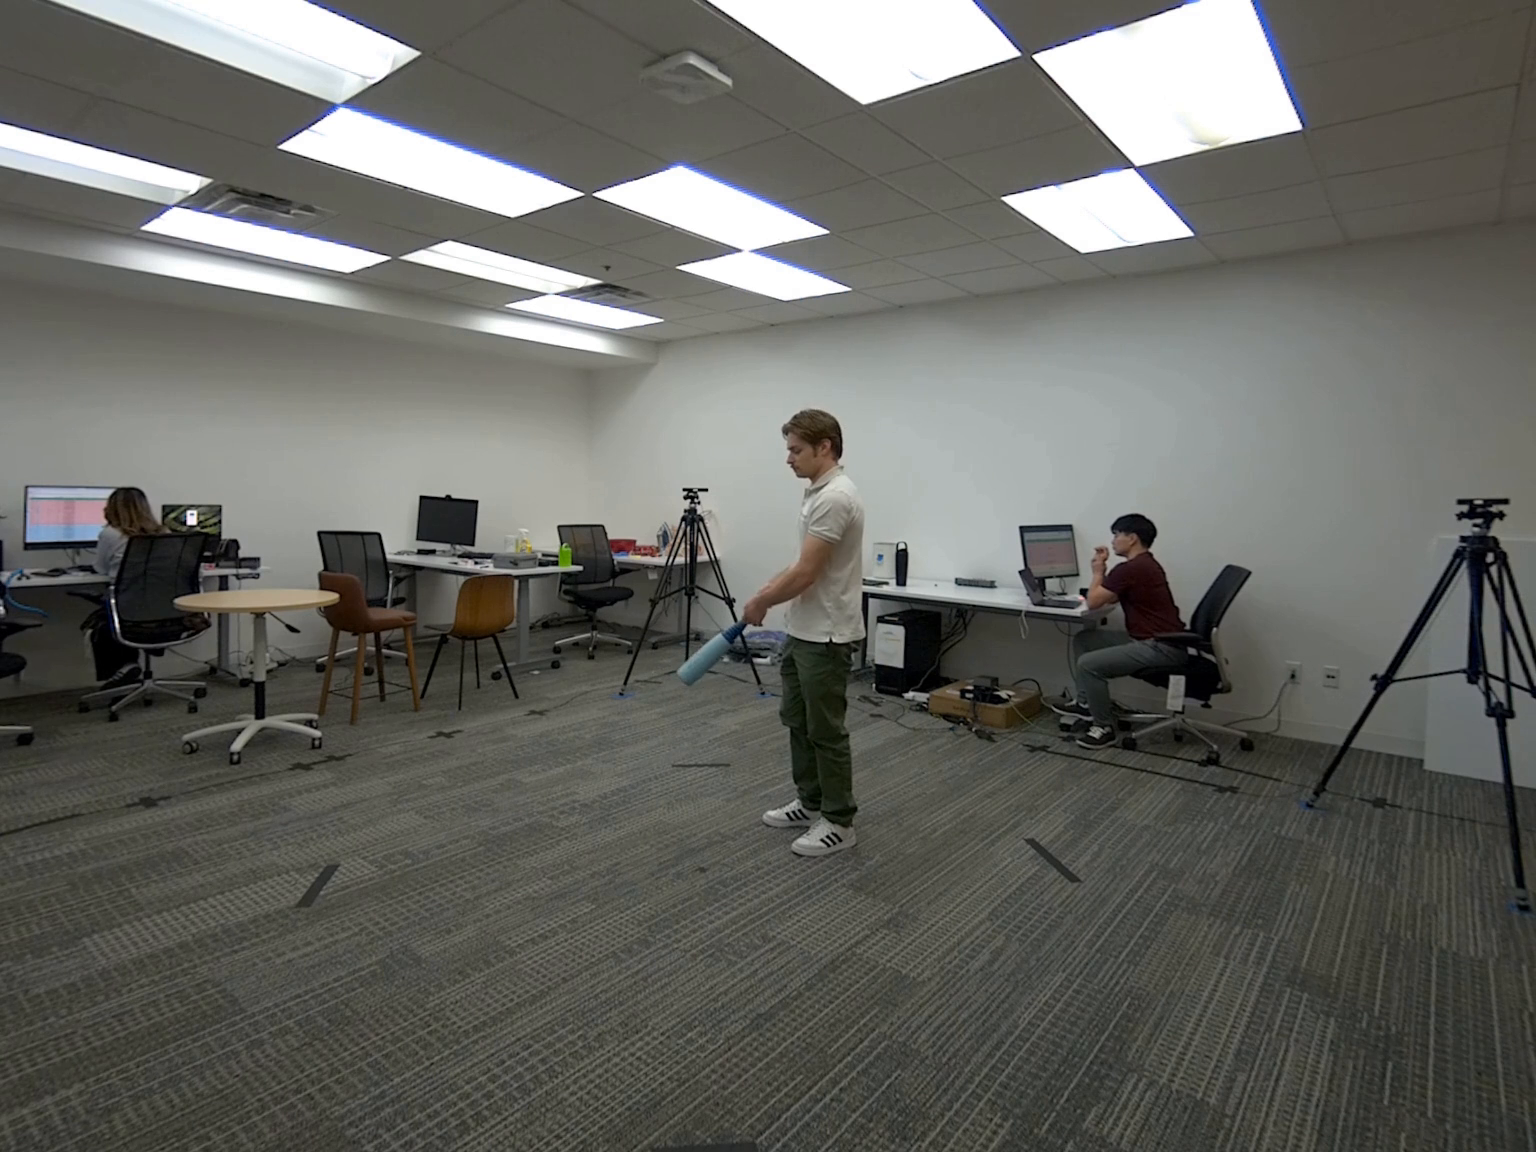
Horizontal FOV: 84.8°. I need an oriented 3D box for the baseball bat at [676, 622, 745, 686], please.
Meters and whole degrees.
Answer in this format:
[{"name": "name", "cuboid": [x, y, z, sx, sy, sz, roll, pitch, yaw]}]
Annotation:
[{"name": "baseball bat", "cuboid": [-0.148, 0.248, 3.487, 0.543, 0.089, 0.089, -42, 4, 2]}]
